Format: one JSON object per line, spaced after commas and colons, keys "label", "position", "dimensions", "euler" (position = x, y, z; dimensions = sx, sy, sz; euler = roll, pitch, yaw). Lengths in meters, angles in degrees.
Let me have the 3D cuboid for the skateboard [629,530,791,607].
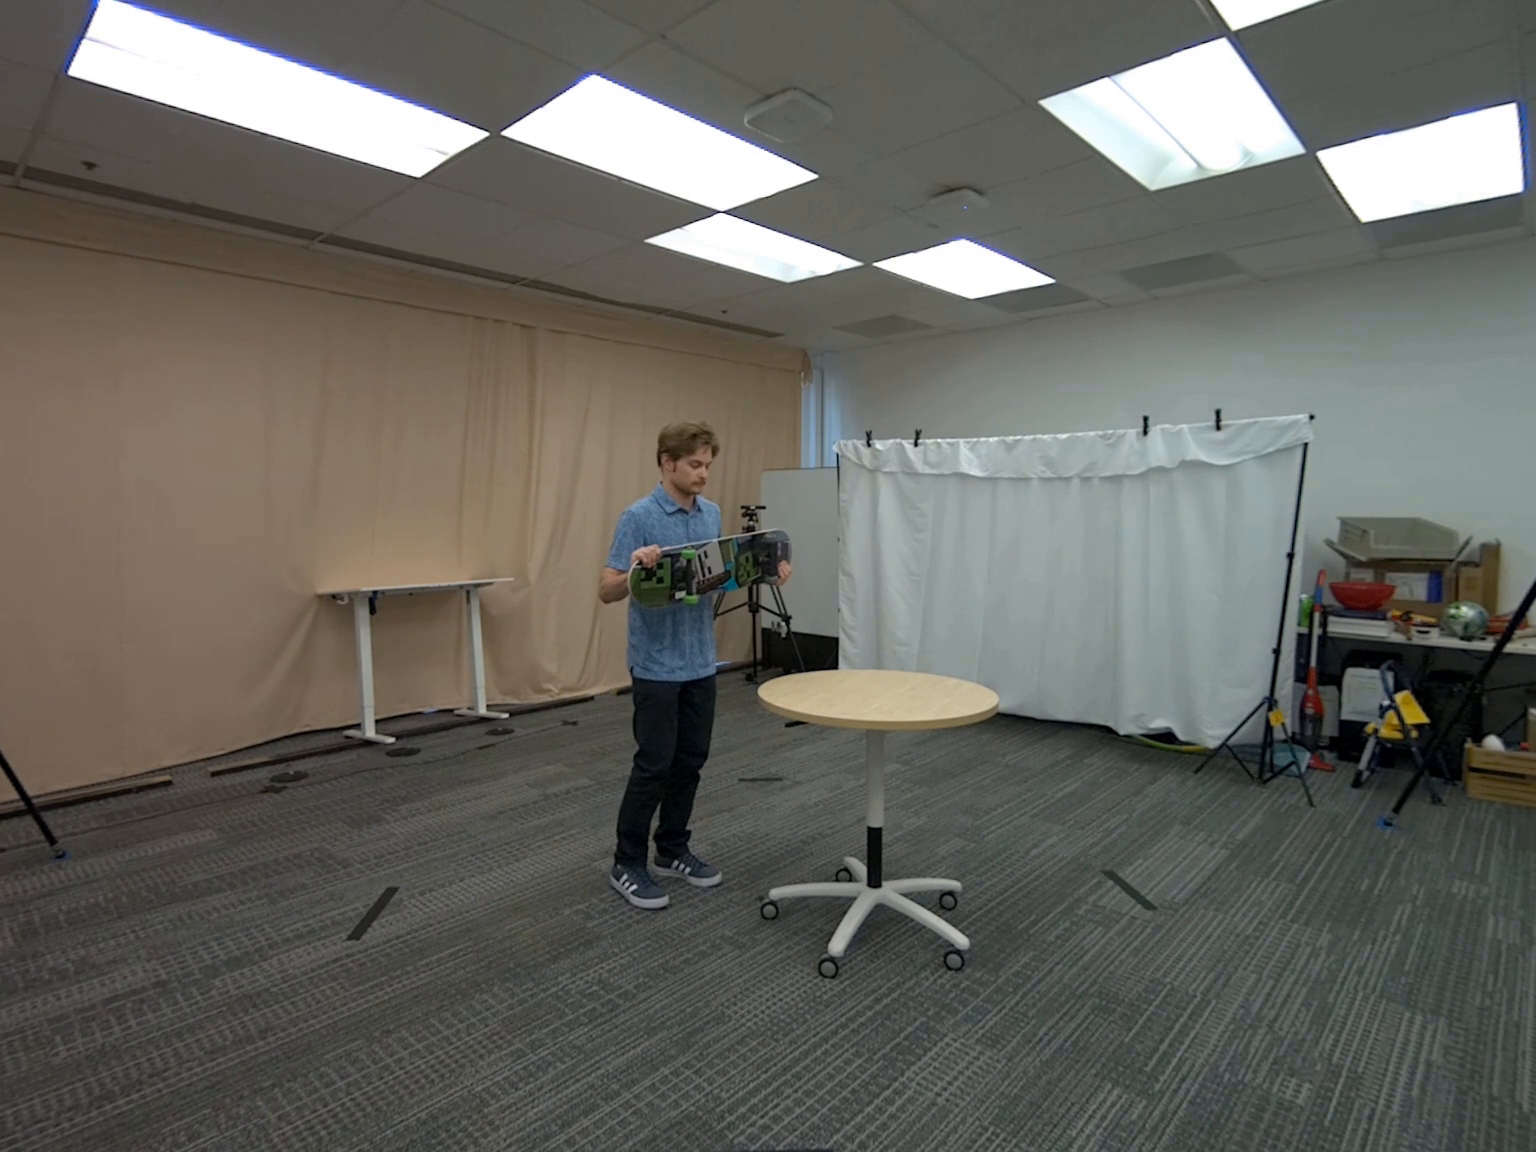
{"label": "skateboard", "position": [-0.147, -0.030, 2.948], "dimensions": [0.114, 0.192, 0.763], "euler": [9, 15, 44]}
